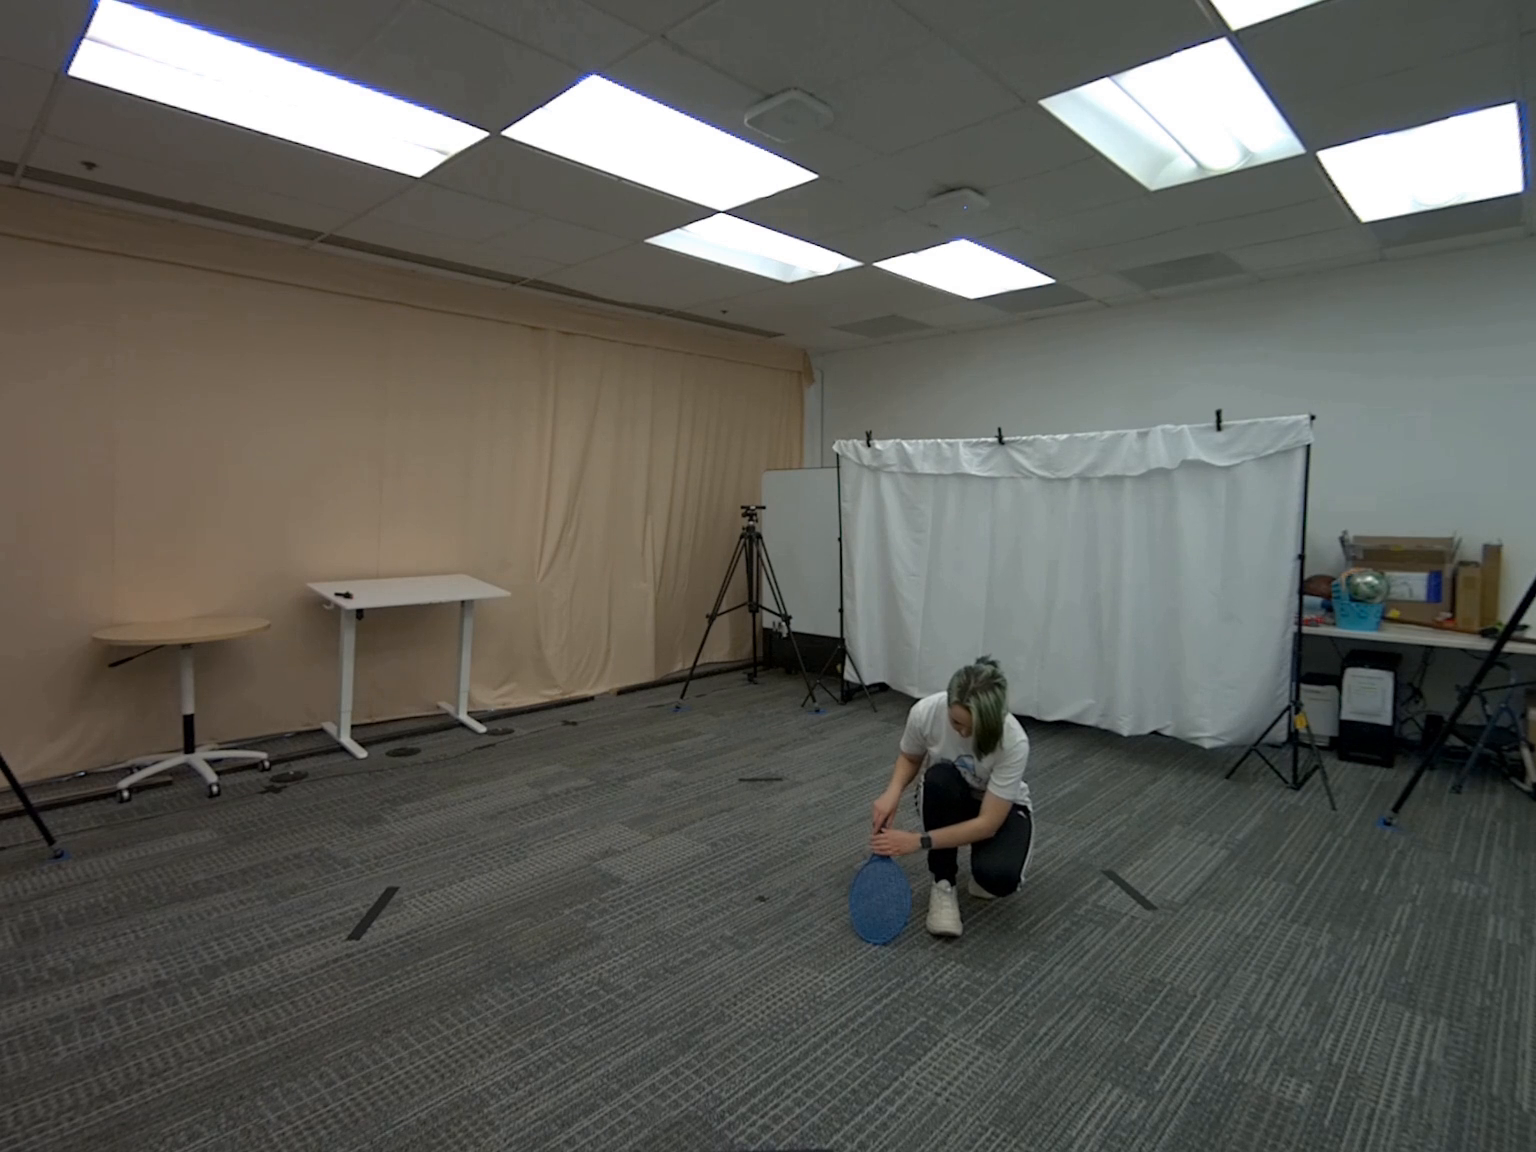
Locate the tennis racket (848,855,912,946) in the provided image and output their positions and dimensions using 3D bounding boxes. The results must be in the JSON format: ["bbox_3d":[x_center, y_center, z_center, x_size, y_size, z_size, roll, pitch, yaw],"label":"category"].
[{"bbox_3d":[0.379,0.998,2.802,0.218,0.439,0.031,-15,-44,24],"label":"tennis racket"}]
